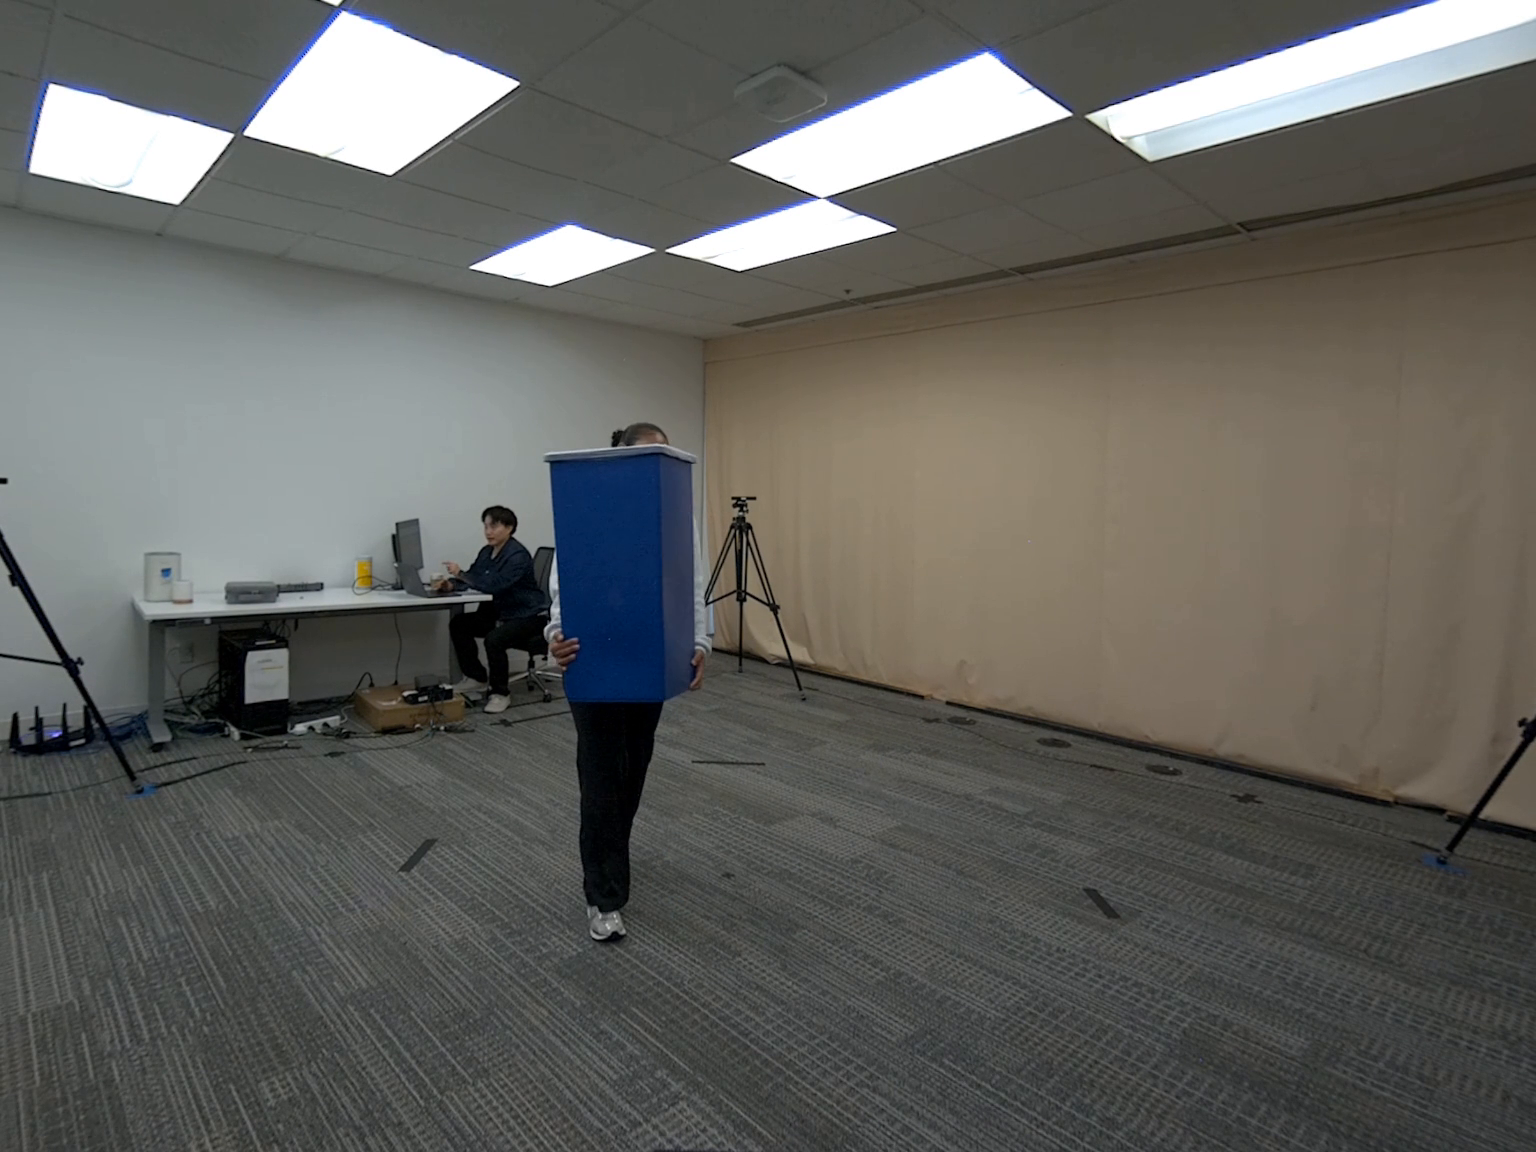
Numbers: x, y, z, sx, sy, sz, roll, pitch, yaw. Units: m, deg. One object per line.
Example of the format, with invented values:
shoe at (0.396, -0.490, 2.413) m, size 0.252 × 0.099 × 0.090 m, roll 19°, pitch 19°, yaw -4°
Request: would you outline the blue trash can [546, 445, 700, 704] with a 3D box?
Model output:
blue trash can at (-0.432, -0.010, 2.515) m, size 0.378 × 0.714 × 0.373 m, roll -2°, pitch 0°, yaw 14°
